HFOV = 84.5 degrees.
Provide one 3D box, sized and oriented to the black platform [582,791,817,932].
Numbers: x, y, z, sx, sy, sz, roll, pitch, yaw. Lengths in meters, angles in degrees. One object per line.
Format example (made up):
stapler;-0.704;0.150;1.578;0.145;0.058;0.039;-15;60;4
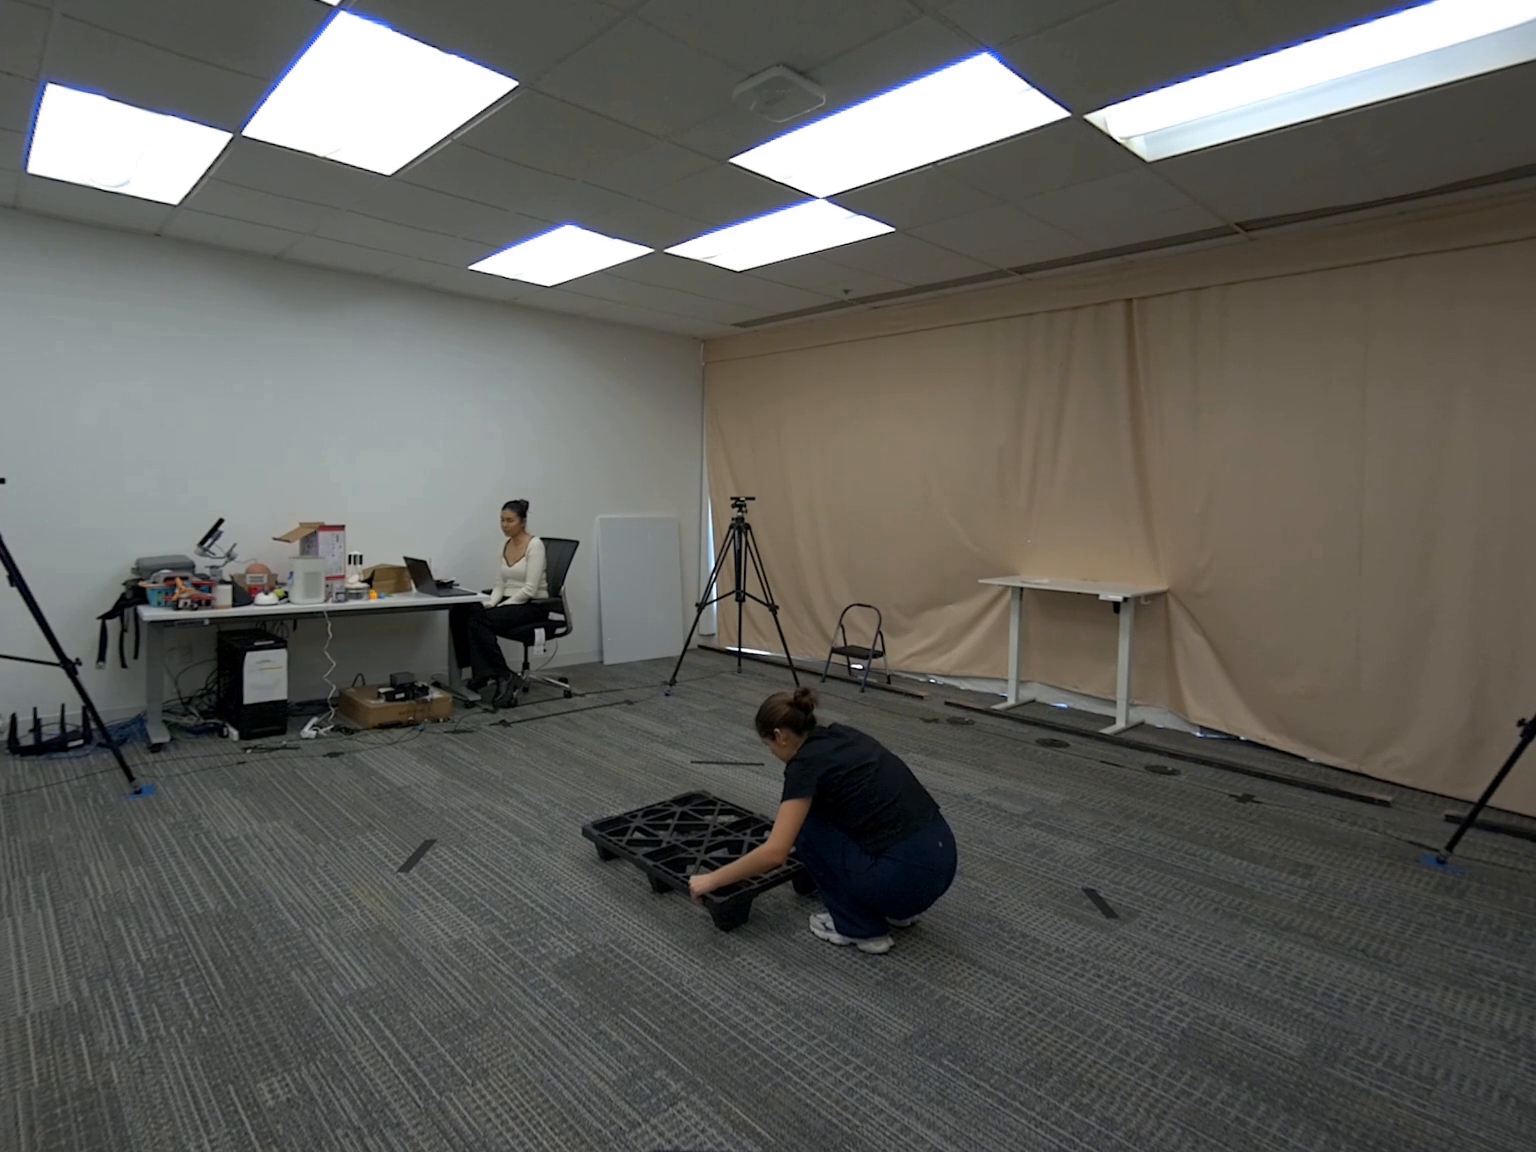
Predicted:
black platform;-0.230;1.035;3.115;0.591;0.143;0.826;-5;8;-43
